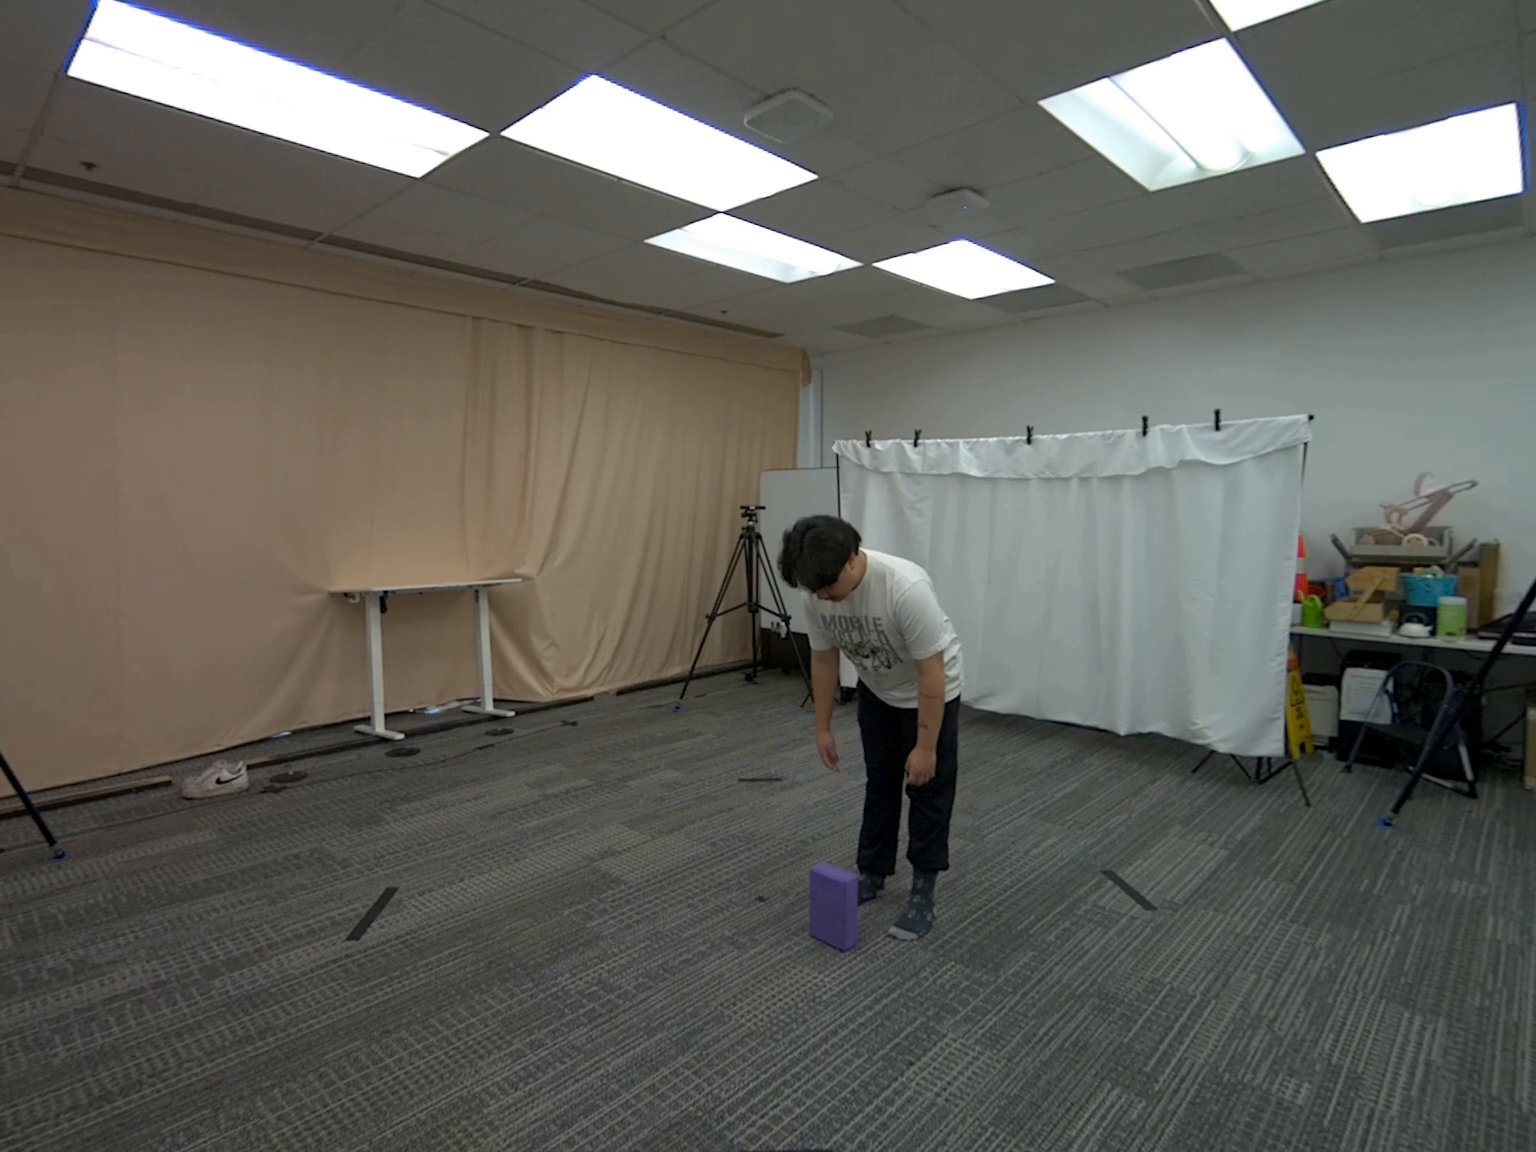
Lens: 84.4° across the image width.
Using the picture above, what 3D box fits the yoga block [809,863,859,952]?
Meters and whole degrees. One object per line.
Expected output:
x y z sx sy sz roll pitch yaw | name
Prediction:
0.215 1.054 2.688 0.154 0.229 0.074 5 5 44 | yoga block
